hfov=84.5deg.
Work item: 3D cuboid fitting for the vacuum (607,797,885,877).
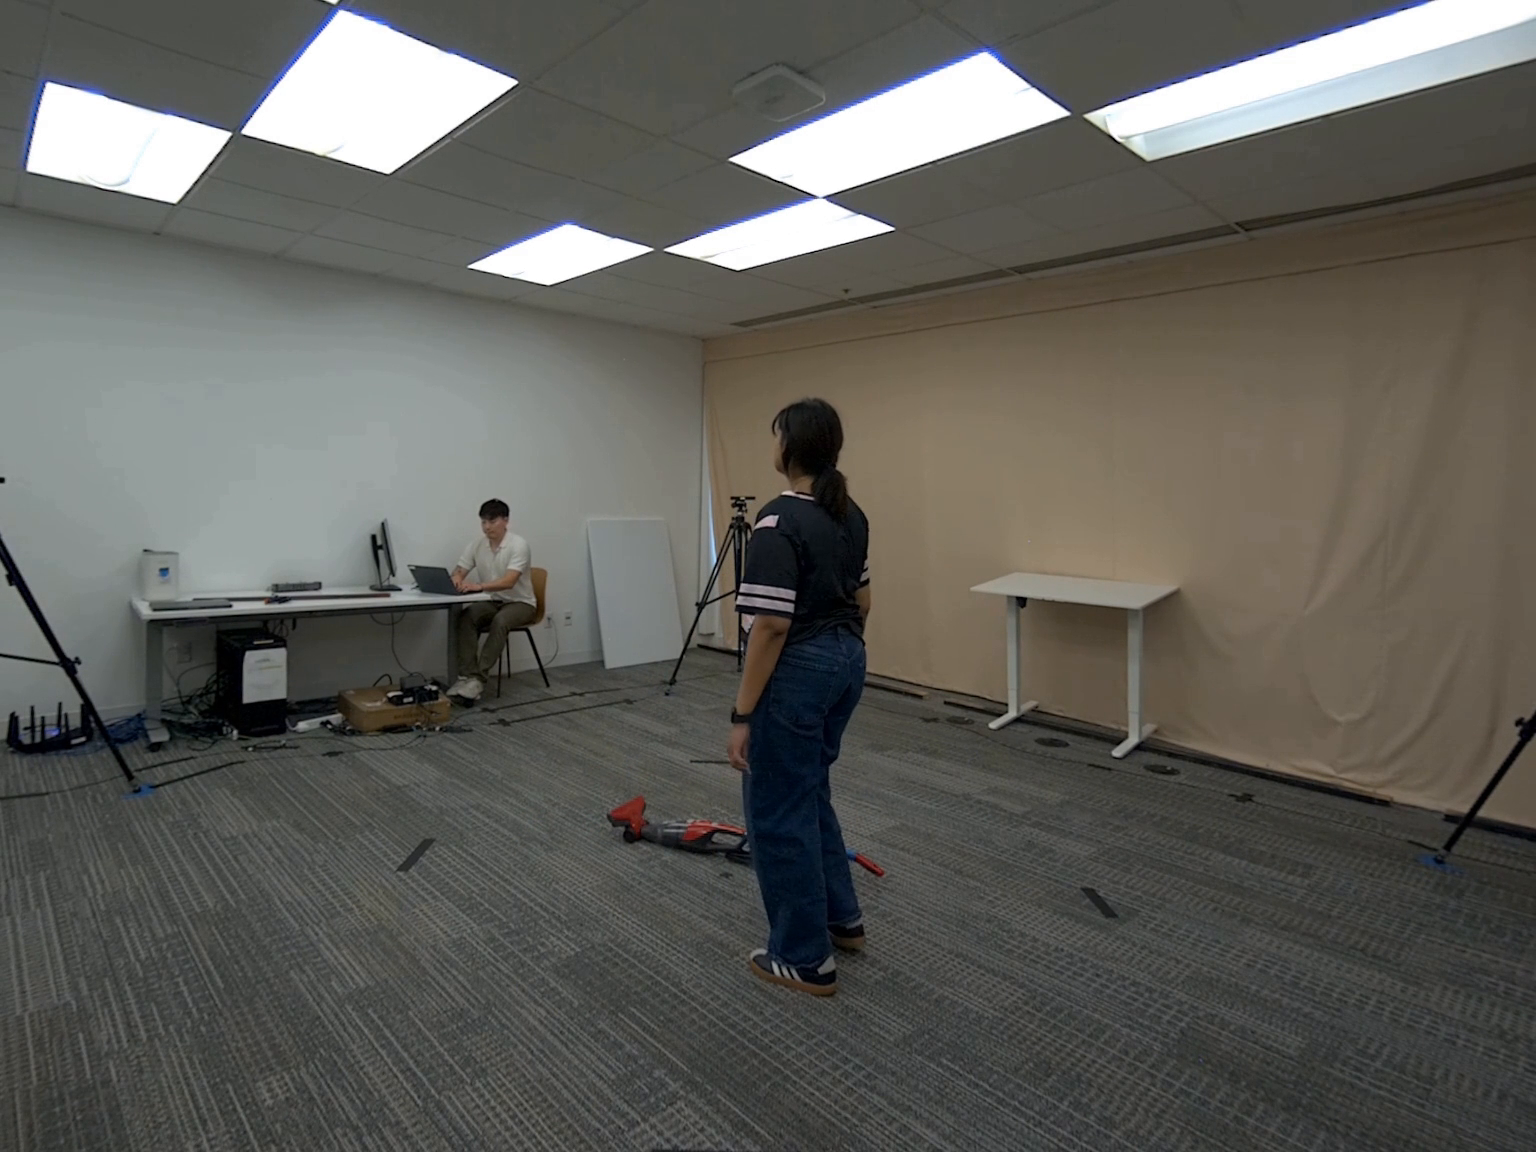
[{"bbox_3d":[-0.088,1.029,3.216,1.069,0.143,0.248,4,5,24],"label":"vacuum"}]
